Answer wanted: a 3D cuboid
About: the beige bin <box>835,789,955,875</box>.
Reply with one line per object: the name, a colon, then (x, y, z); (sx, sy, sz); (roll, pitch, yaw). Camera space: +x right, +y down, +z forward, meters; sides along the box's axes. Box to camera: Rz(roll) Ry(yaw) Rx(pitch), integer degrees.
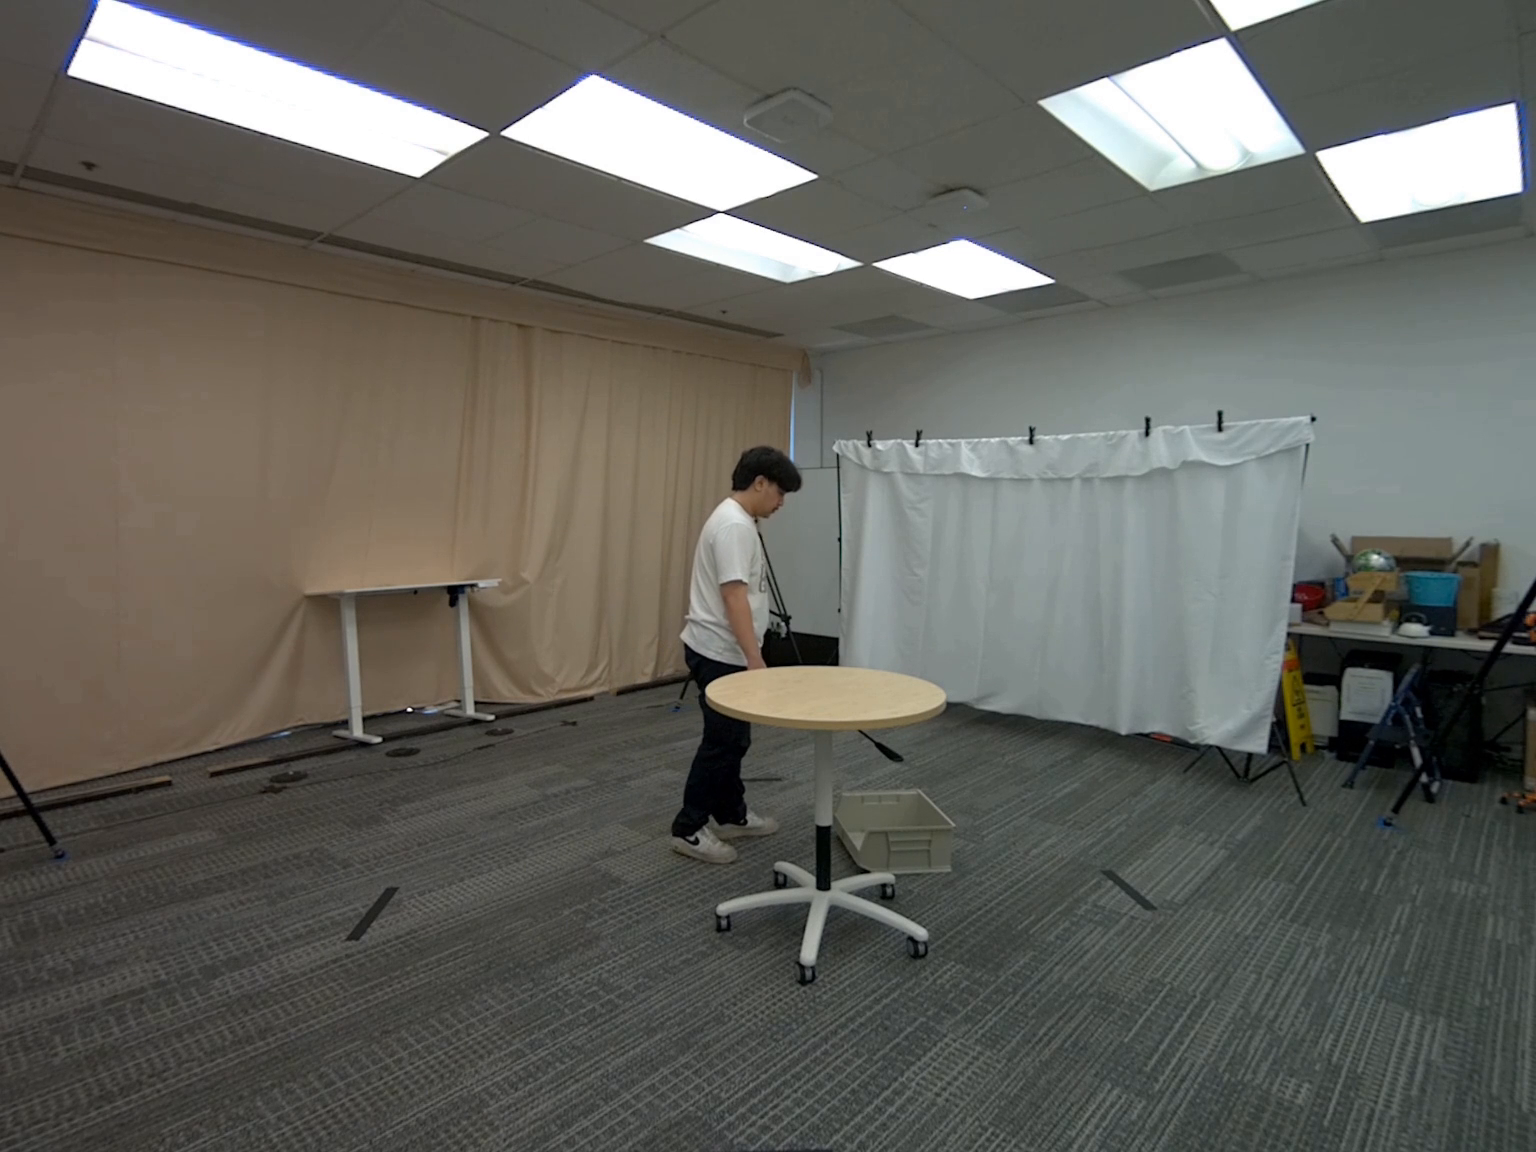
beige bin: (0.500, 1.024, 3.382); (0.374, 0.188, 0.426); (0, 3, -8)
